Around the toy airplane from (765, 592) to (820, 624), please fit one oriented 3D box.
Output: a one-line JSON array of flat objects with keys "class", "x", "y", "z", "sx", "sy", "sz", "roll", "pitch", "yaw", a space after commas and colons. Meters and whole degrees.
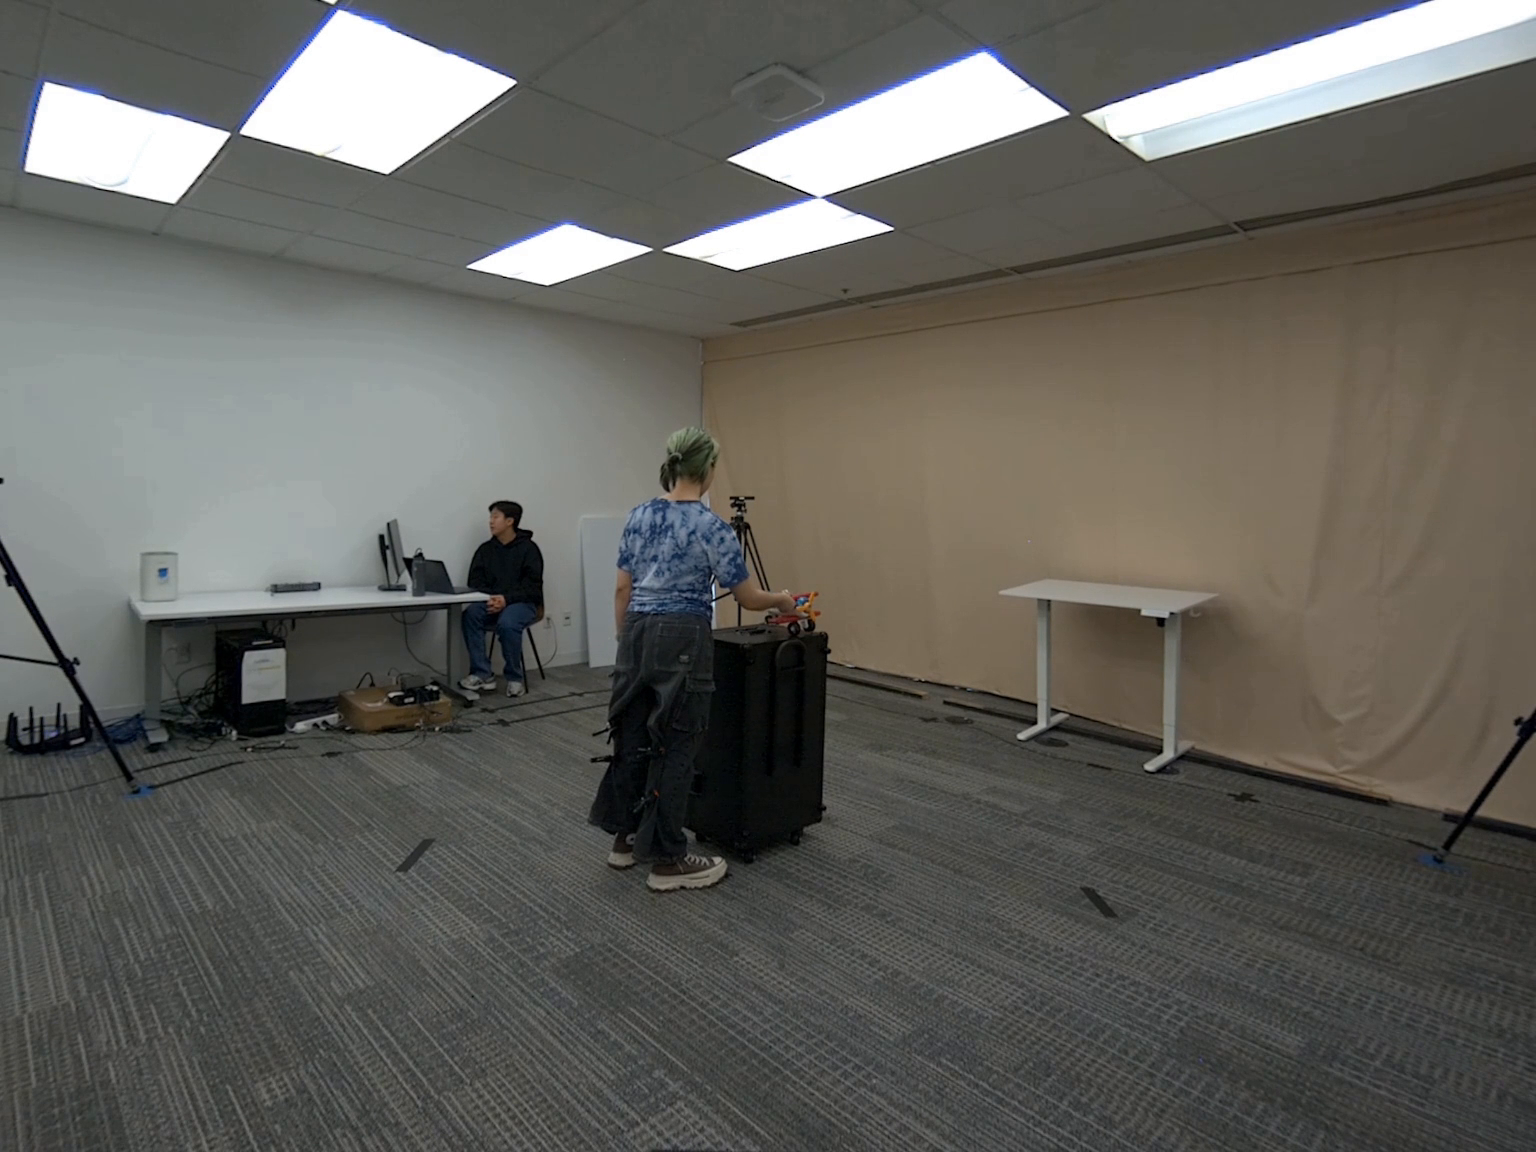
[{"class": "toy airplane", "x": 0.052, "y": 0.143, "z": 3.435, "sx": 0.264, "sy": 0.155, "sz": 0.249, "roll": 7, "pitch": 15, "yaw": 20}]
